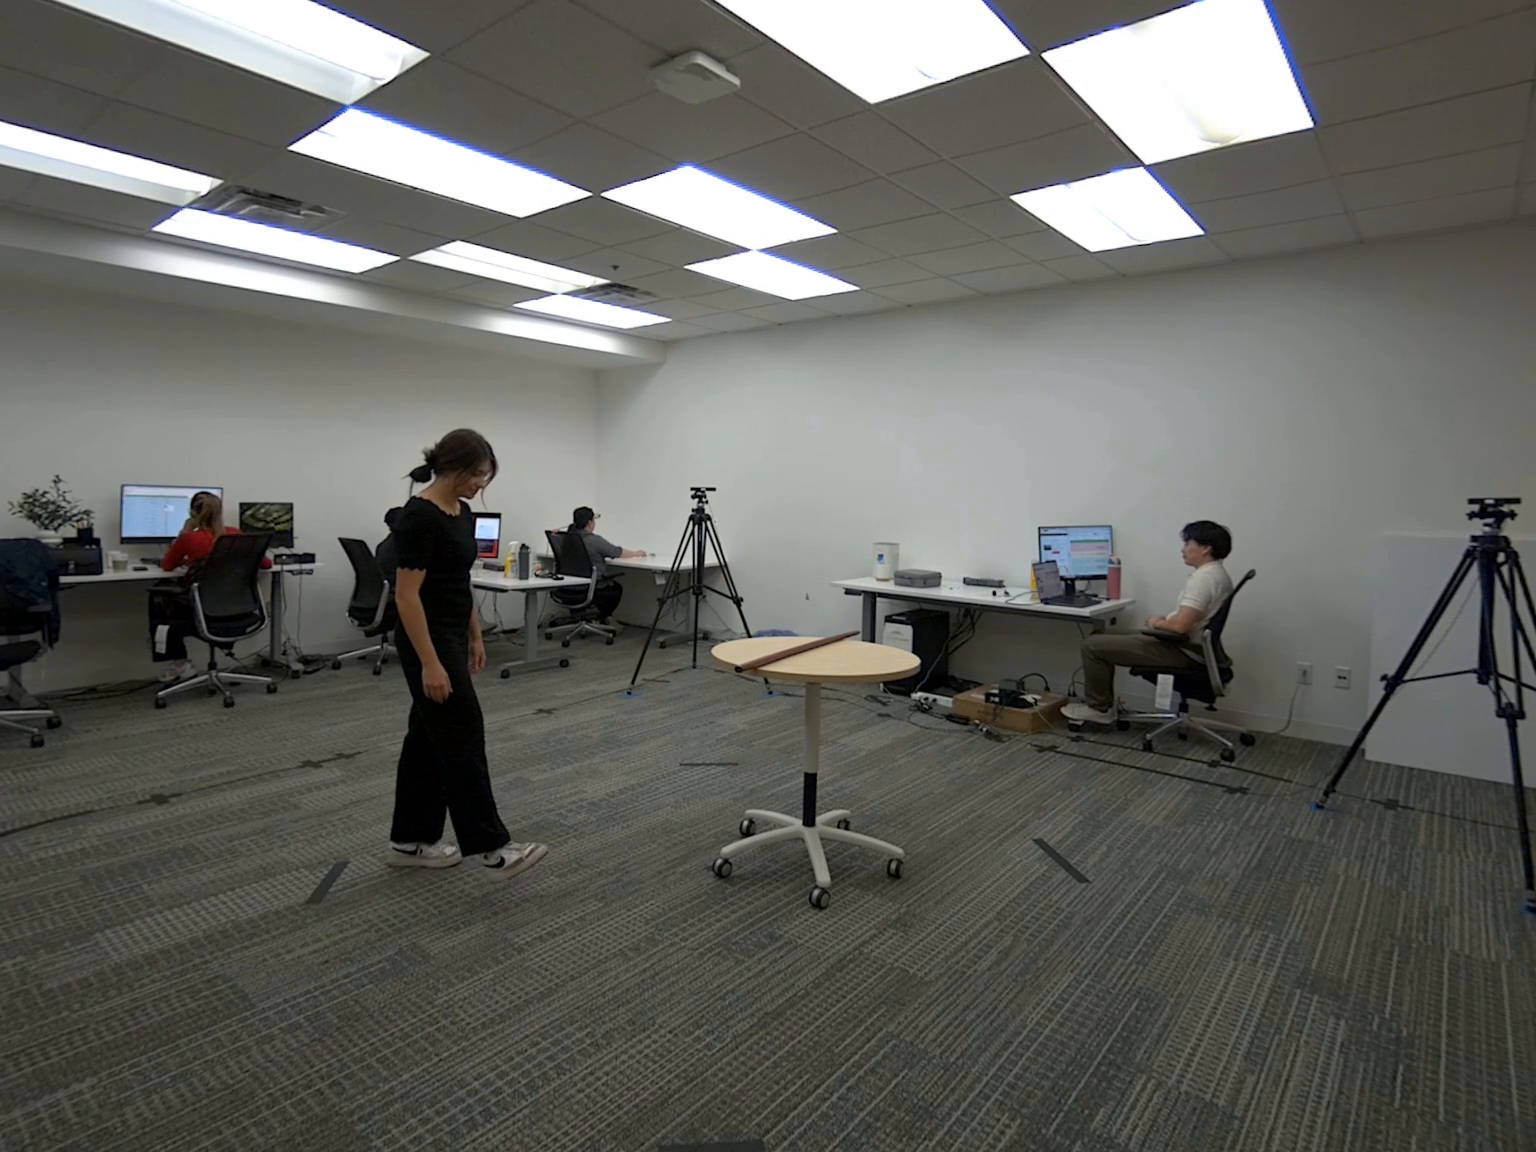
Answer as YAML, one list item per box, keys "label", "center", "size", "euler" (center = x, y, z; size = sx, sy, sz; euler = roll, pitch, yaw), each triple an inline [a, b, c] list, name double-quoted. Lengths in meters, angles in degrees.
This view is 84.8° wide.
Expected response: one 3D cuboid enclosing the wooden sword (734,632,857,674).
- label: "wooden sword"
  center: [0.101, 0.274, 3.182]
  size: [0.053, 0.024, 0.997]
  euler: [20, 13, 27]
